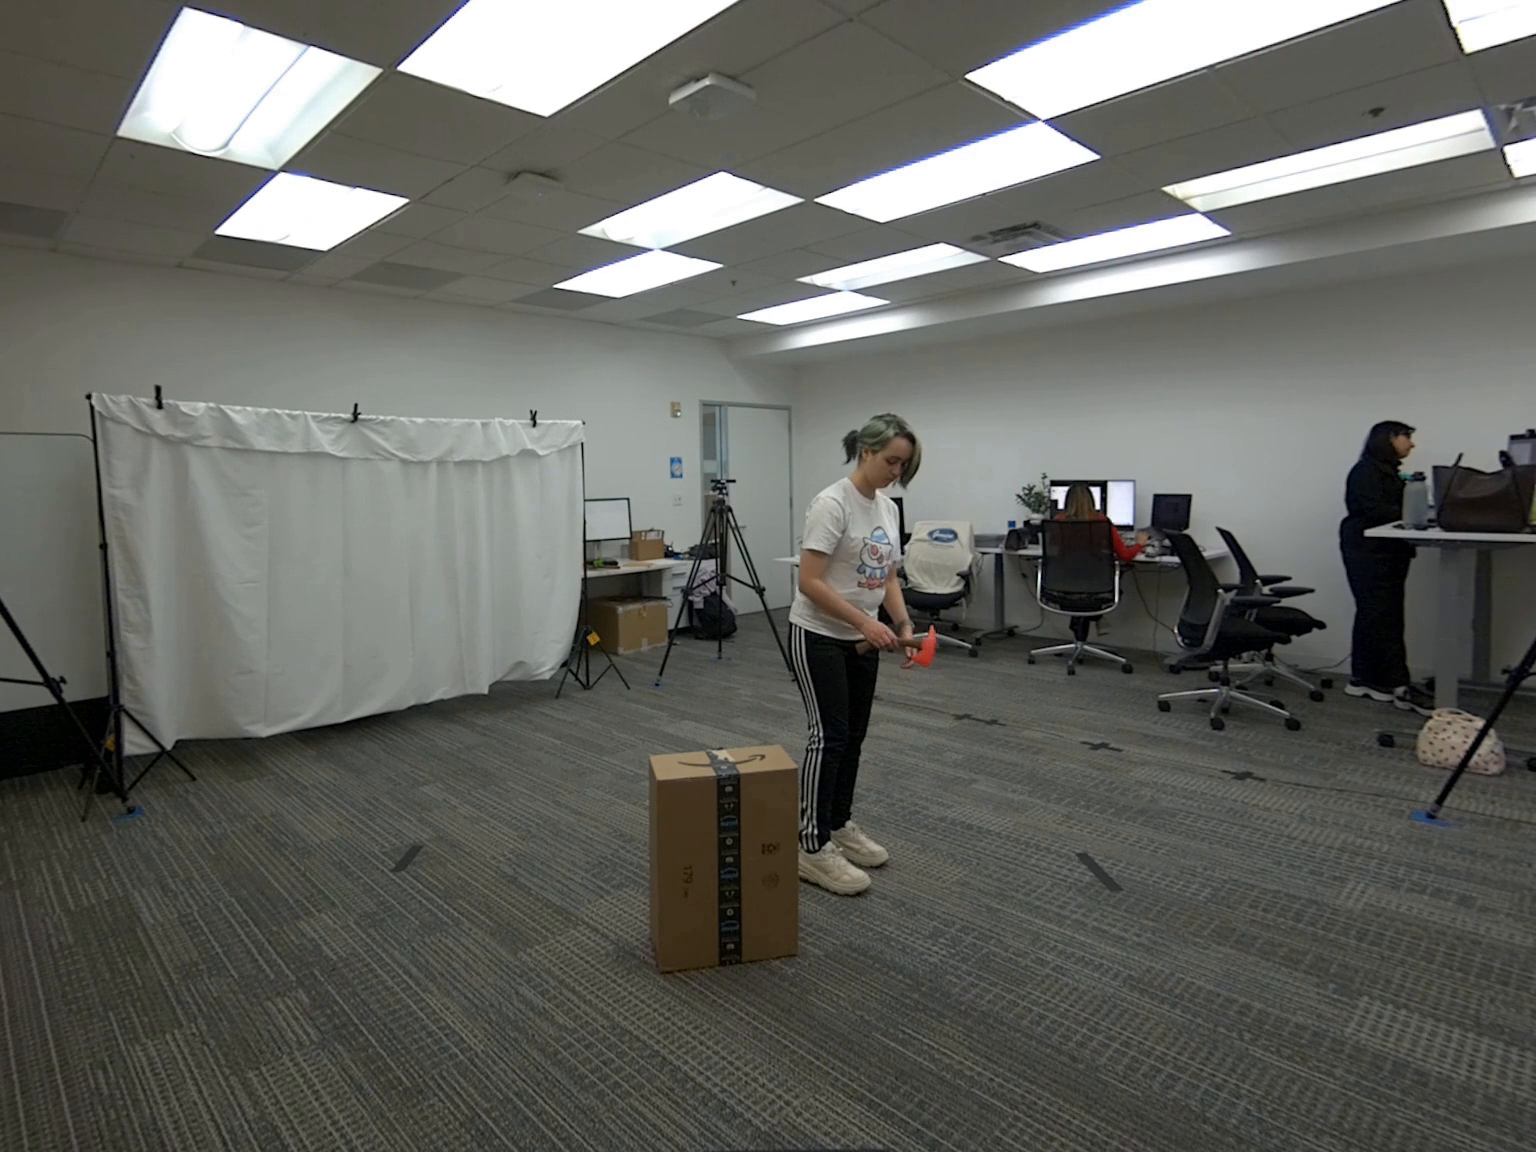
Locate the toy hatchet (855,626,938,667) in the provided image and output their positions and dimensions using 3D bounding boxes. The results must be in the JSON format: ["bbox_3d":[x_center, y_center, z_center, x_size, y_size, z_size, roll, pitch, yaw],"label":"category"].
[{"bbox_3d":[0.423,0.262,2.801,0.273,0.134,0.028,-16,-25,18],"label":"toy hatchet"}]
